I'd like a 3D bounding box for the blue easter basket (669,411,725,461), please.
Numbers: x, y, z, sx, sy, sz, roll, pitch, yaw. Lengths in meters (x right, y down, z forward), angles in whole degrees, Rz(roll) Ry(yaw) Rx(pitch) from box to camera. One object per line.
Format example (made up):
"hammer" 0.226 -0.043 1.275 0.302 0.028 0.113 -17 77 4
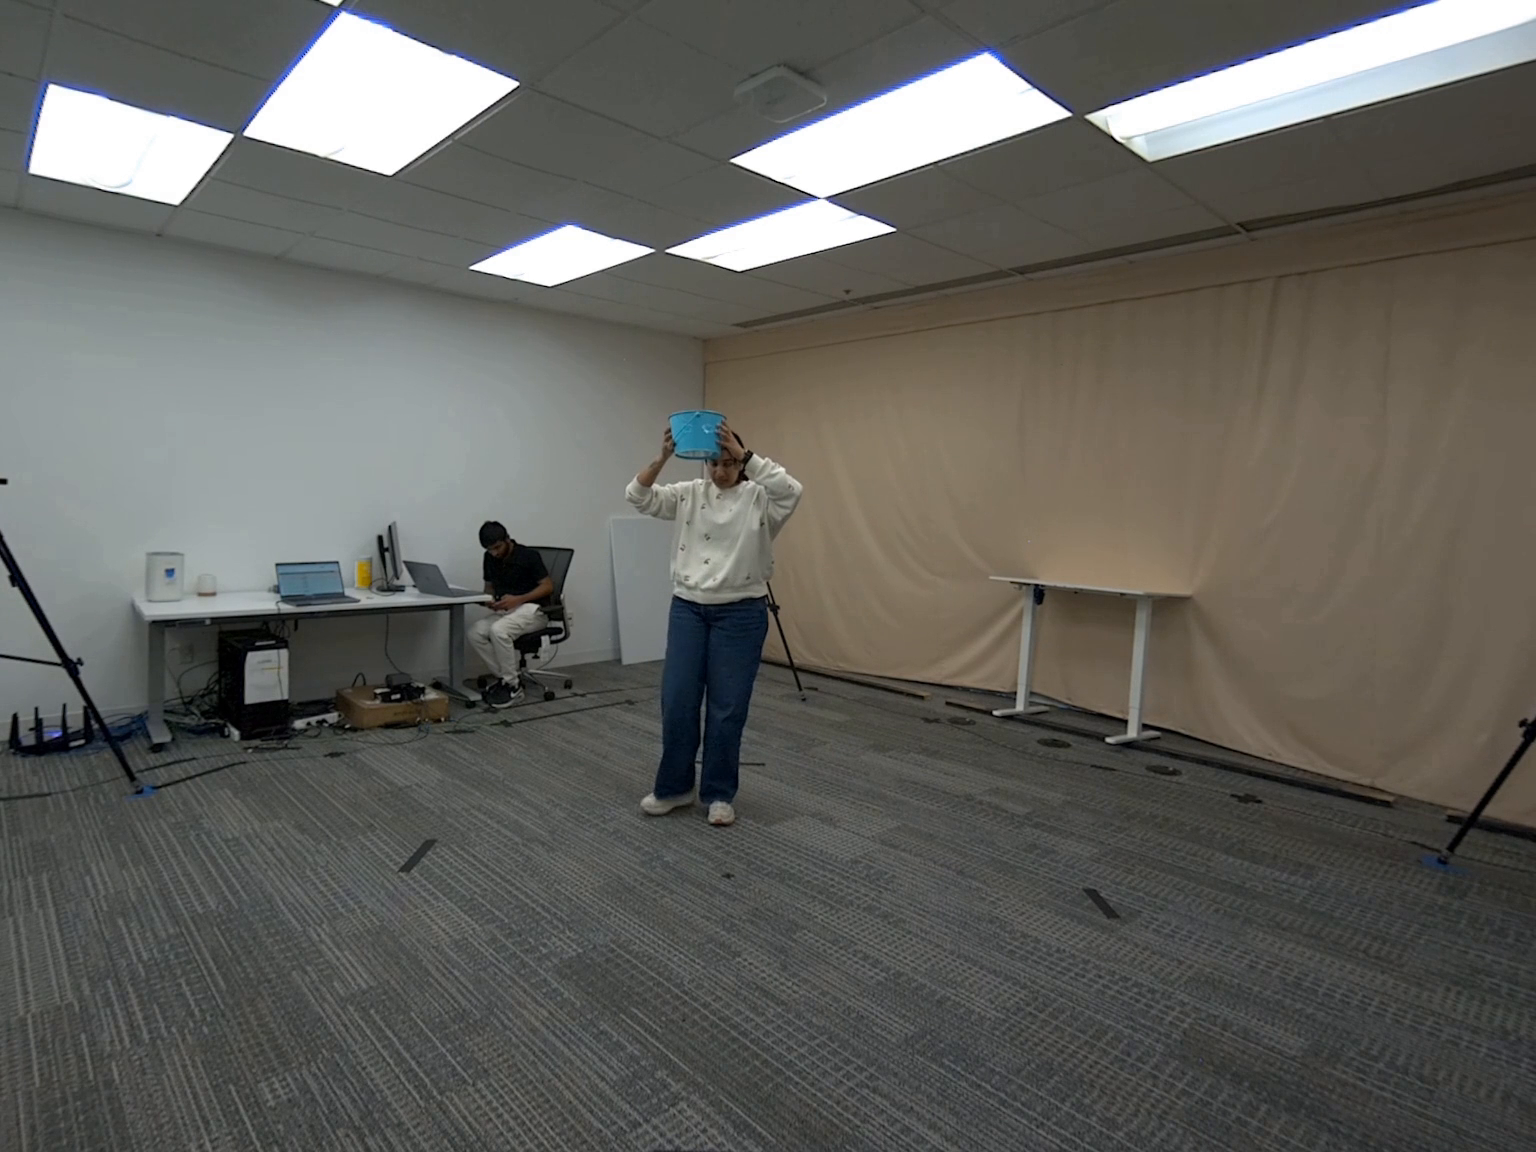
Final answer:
"blue easter basket" -0.297 -0.562 3.369 0.243 0.156 0.243 1 -3 -1
